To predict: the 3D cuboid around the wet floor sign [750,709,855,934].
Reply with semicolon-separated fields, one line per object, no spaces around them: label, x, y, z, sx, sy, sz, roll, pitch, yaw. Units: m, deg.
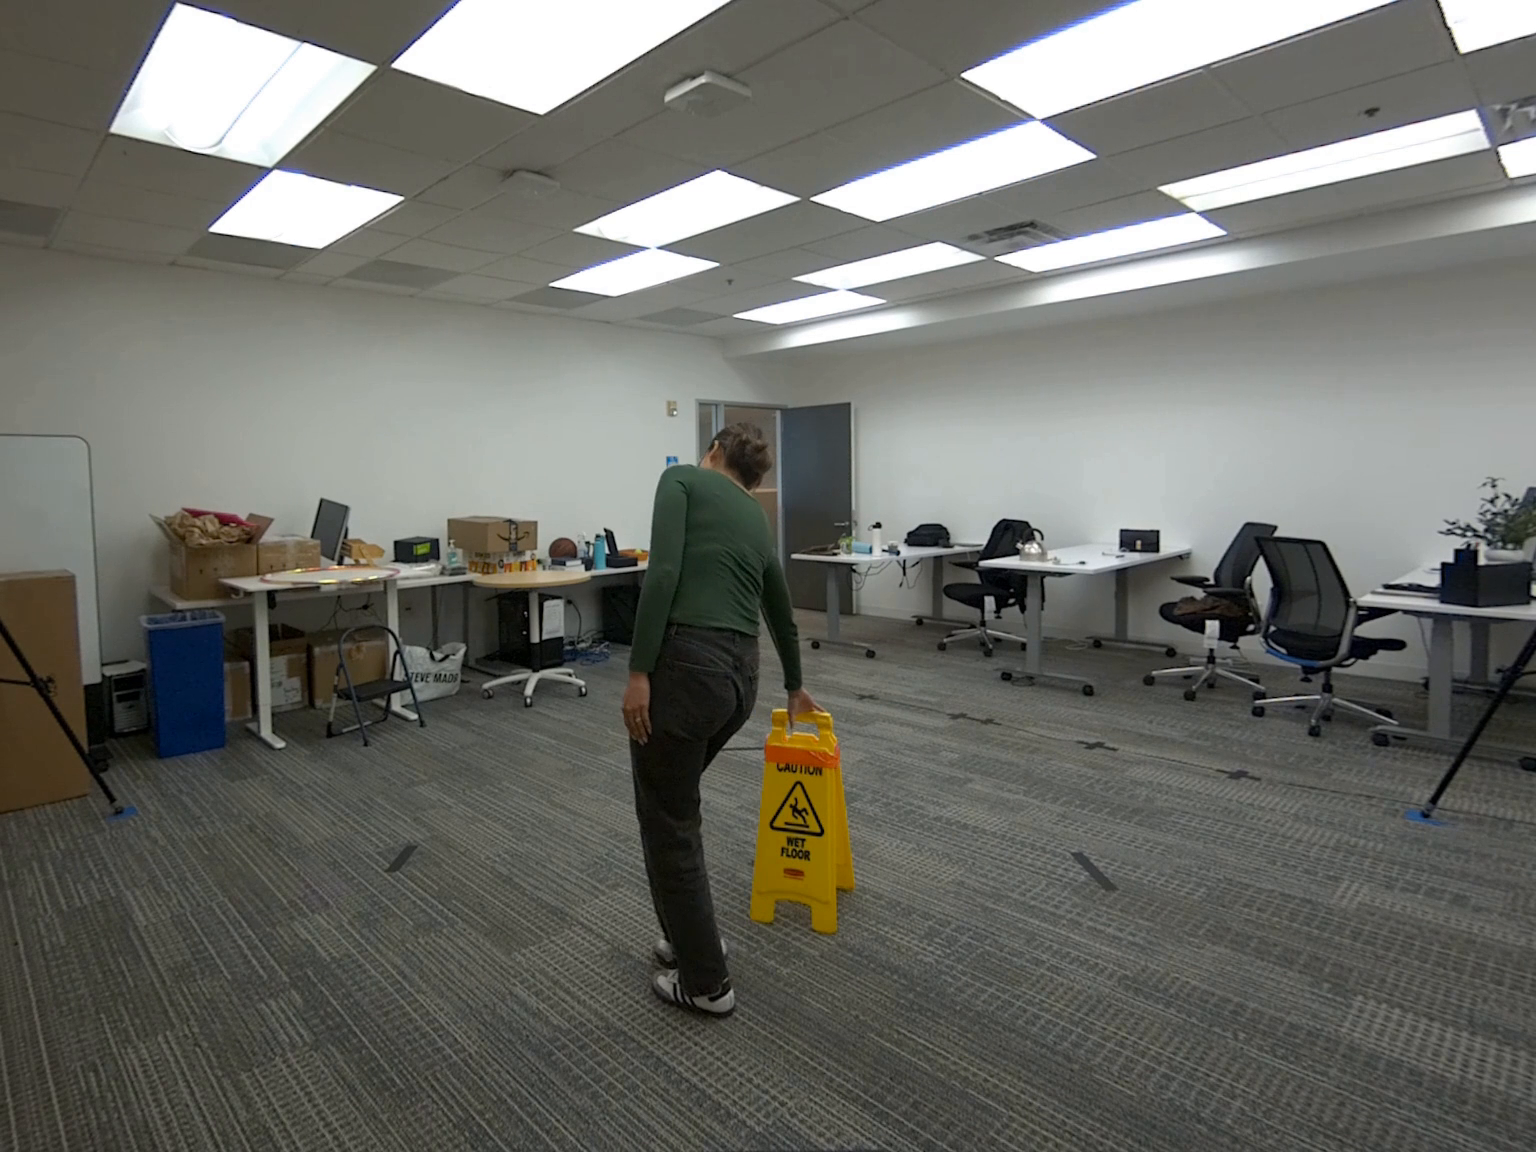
wet floor sign;0.118;0.757;2.784;0.288;0.644;0.285;2;4;19
